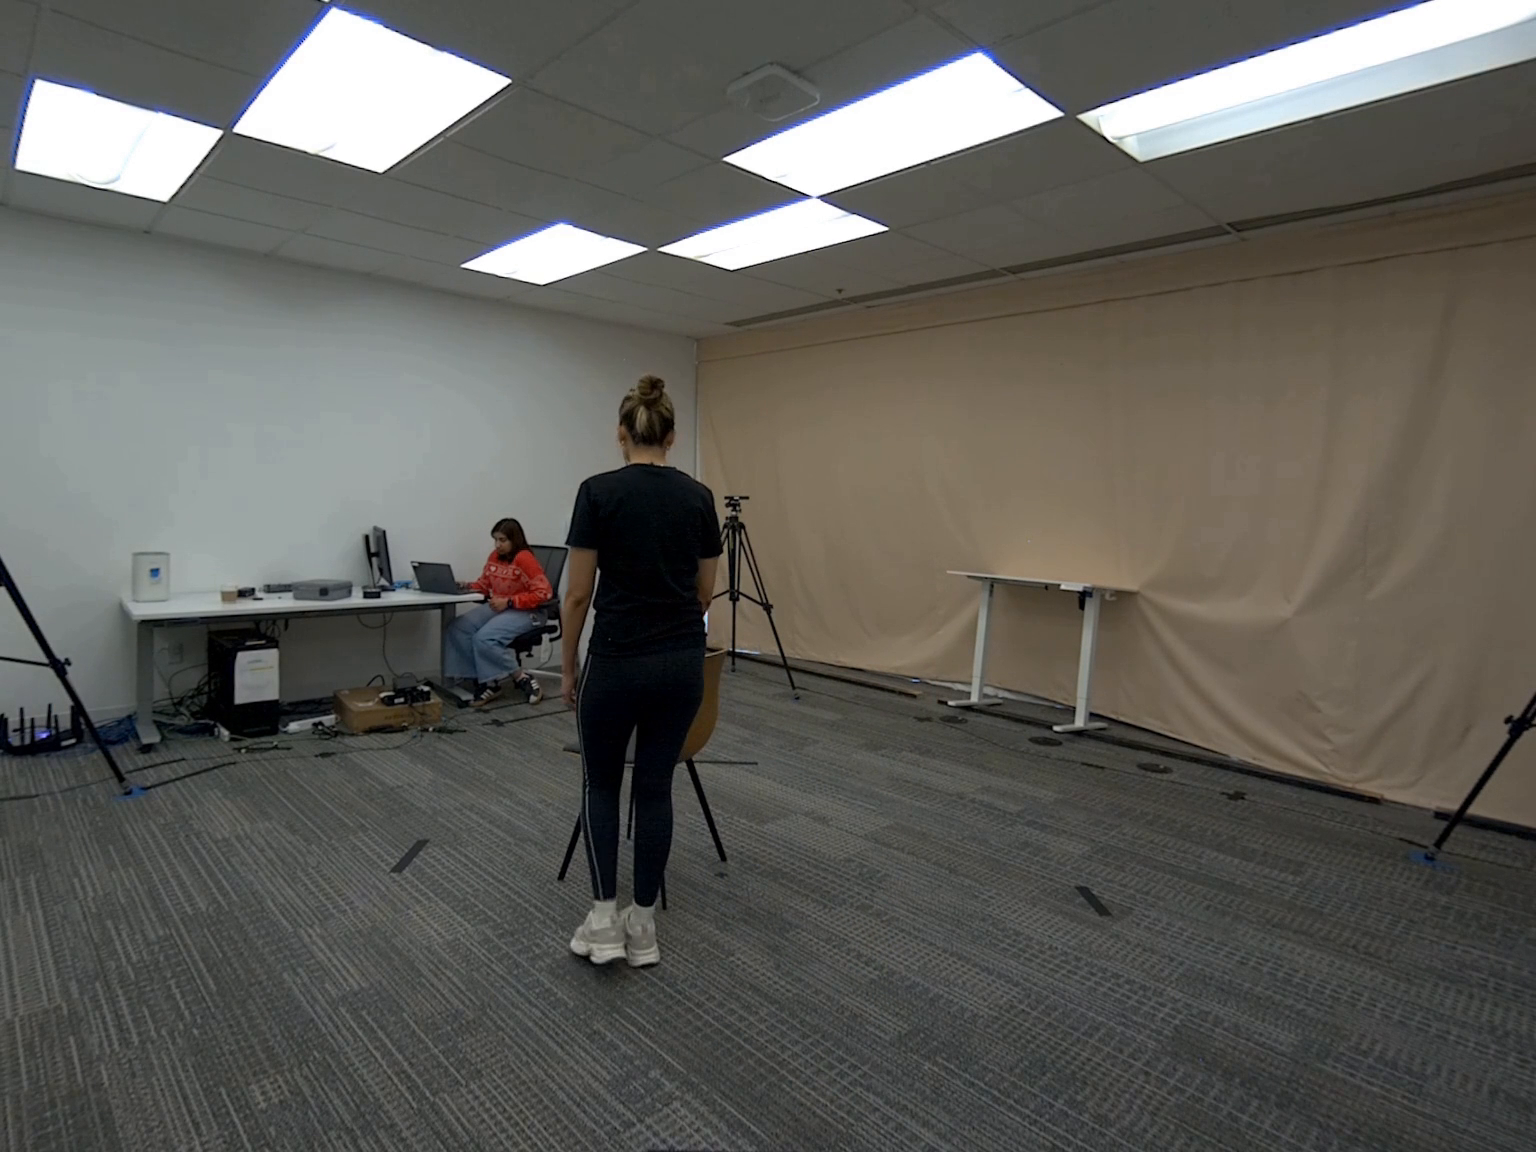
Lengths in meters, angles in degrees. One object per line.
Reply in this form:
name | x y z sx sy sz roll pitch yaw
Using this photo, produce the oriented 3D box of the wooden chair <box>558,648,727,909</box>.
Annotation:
wooden chair | -0.458 0.673 3.099 0.534 0.874 0.470 8 6 26
